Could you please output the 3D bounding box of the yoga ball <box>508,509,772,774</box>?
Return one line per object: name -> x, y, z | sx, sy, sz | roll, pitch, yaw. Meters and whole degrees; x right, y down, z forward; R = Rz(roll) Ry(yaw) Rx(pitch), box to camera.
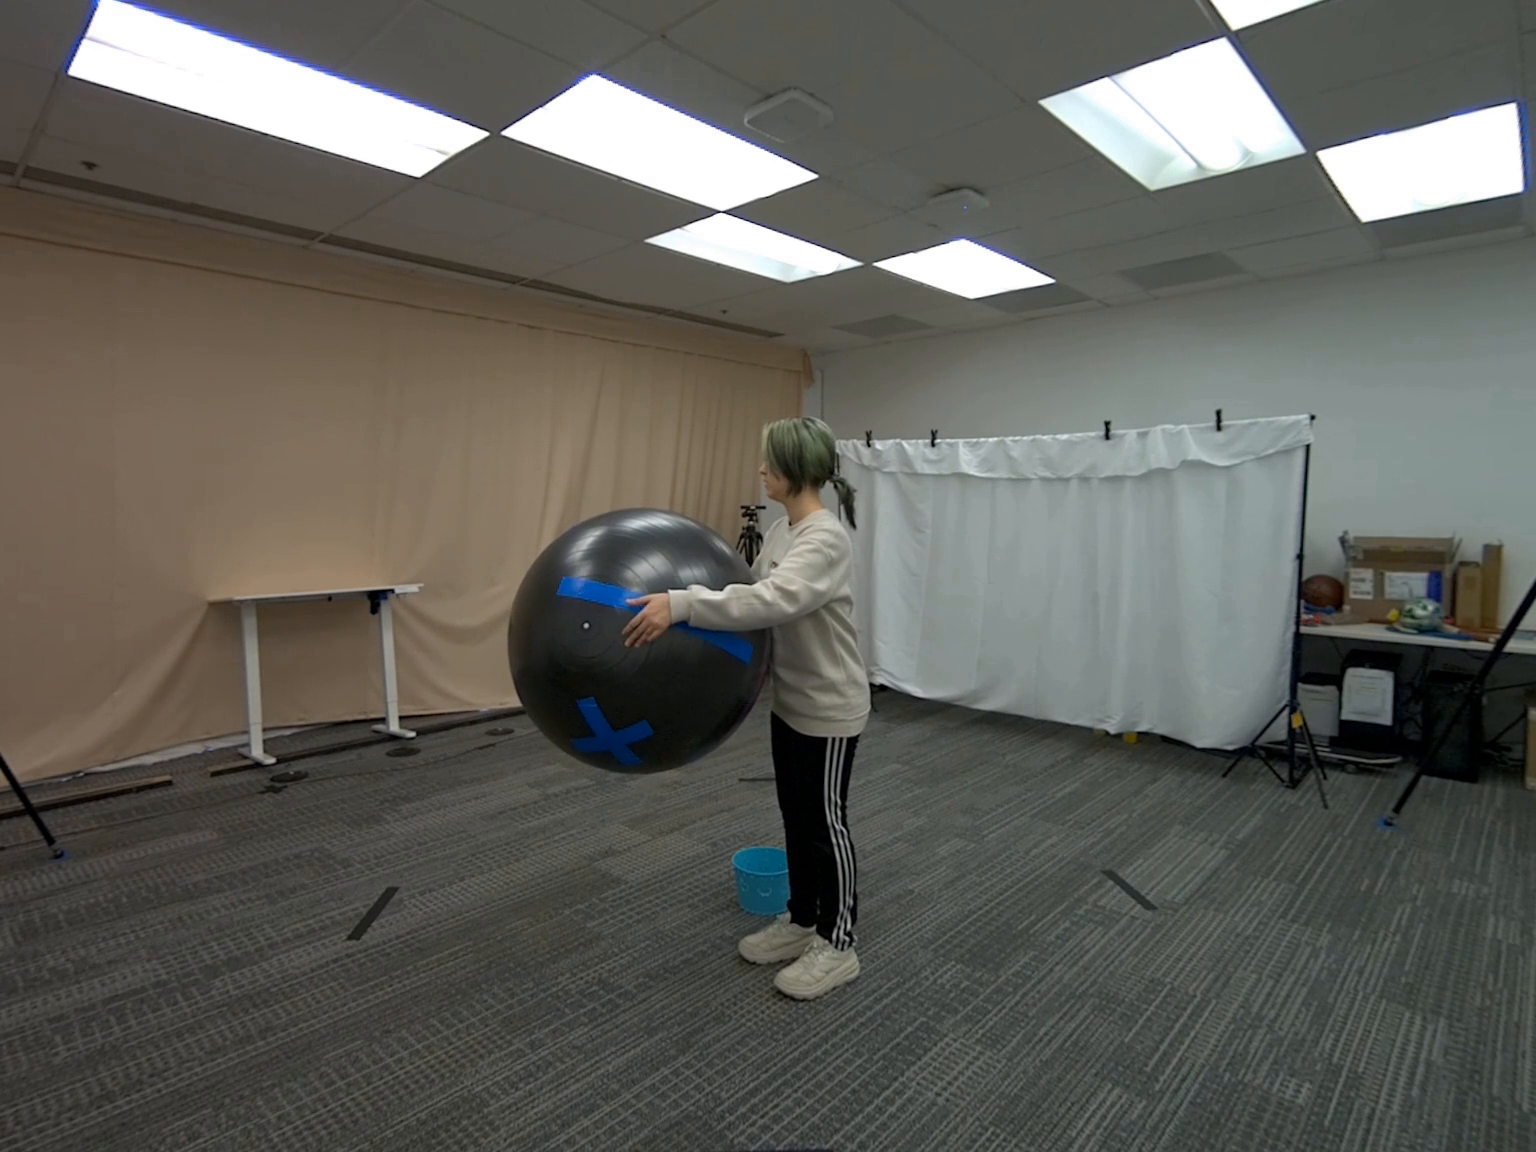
yoga ball -> -0.374, 0.194, 2.436 | 0.757, 0.756, 0.760 | 0, 4, -2
